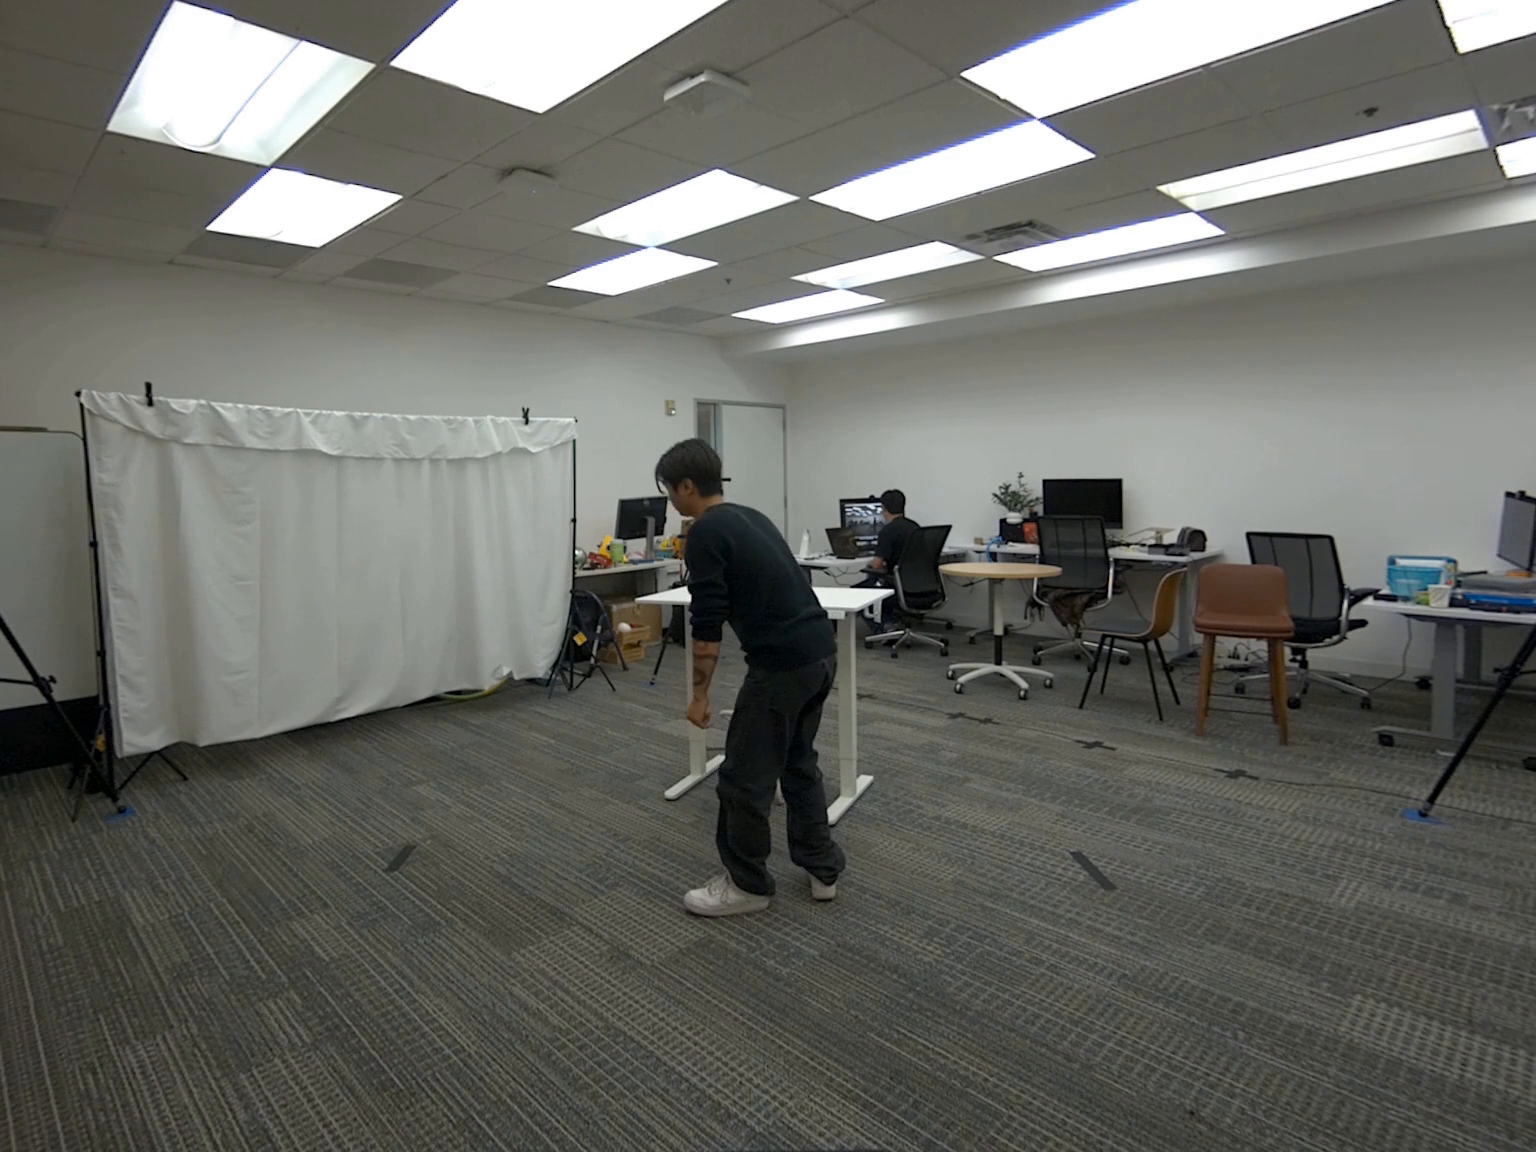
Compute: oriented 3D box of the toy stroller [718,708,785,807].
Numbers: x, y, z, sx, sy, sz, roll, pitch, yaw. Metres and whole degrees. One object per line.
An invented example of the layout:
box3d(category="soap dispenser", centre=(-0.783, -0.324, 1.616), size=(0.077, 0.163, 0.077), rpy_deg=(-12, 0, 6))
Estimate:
box3d(category="toy stroller", centre=(-0.026, 0.747, 3.766), size=(0.288, 0.525, 0.339), rpy_deg=(2, 21, 28))
